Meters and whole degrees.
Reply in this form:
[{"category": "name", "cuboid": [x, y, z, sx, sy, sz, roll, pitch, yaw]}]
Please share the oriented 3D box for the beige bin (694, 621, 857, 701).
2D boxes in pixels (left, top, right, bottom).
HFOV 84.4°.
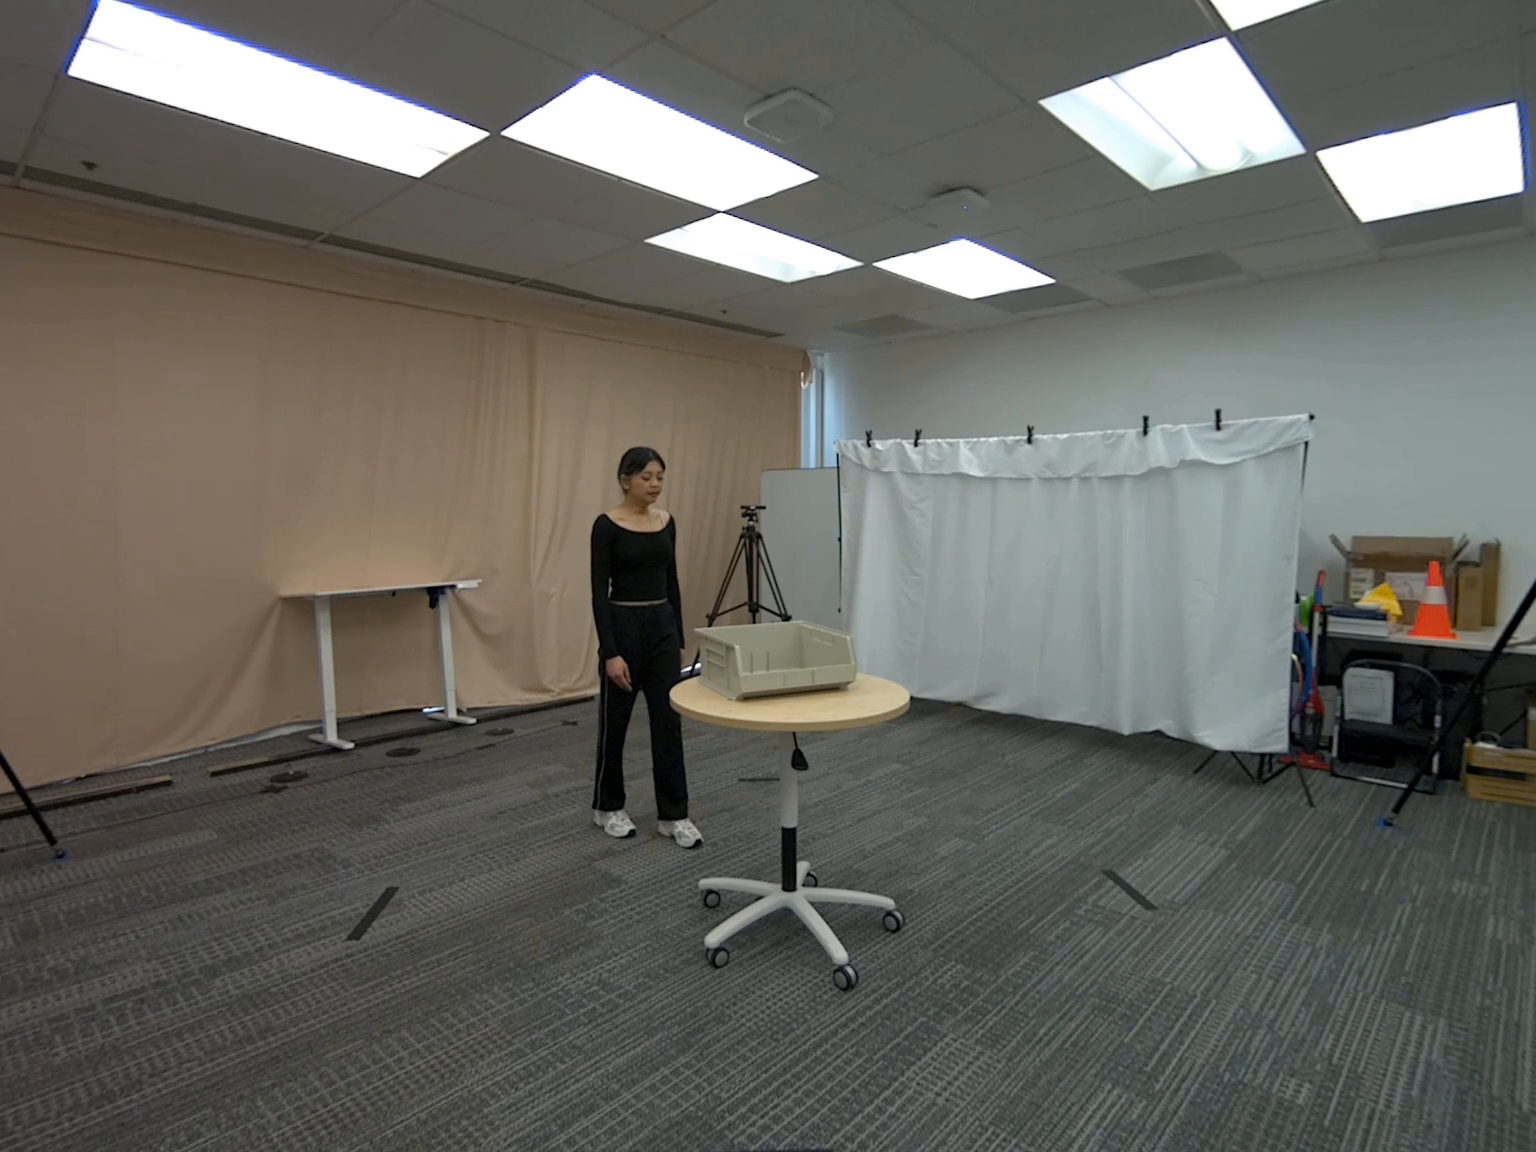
[{"category": "beige bin", "cuboid": [0.023, 0.277, 2.784, 0.413, 0.188, 0.387, -3, 4, -25]}]
